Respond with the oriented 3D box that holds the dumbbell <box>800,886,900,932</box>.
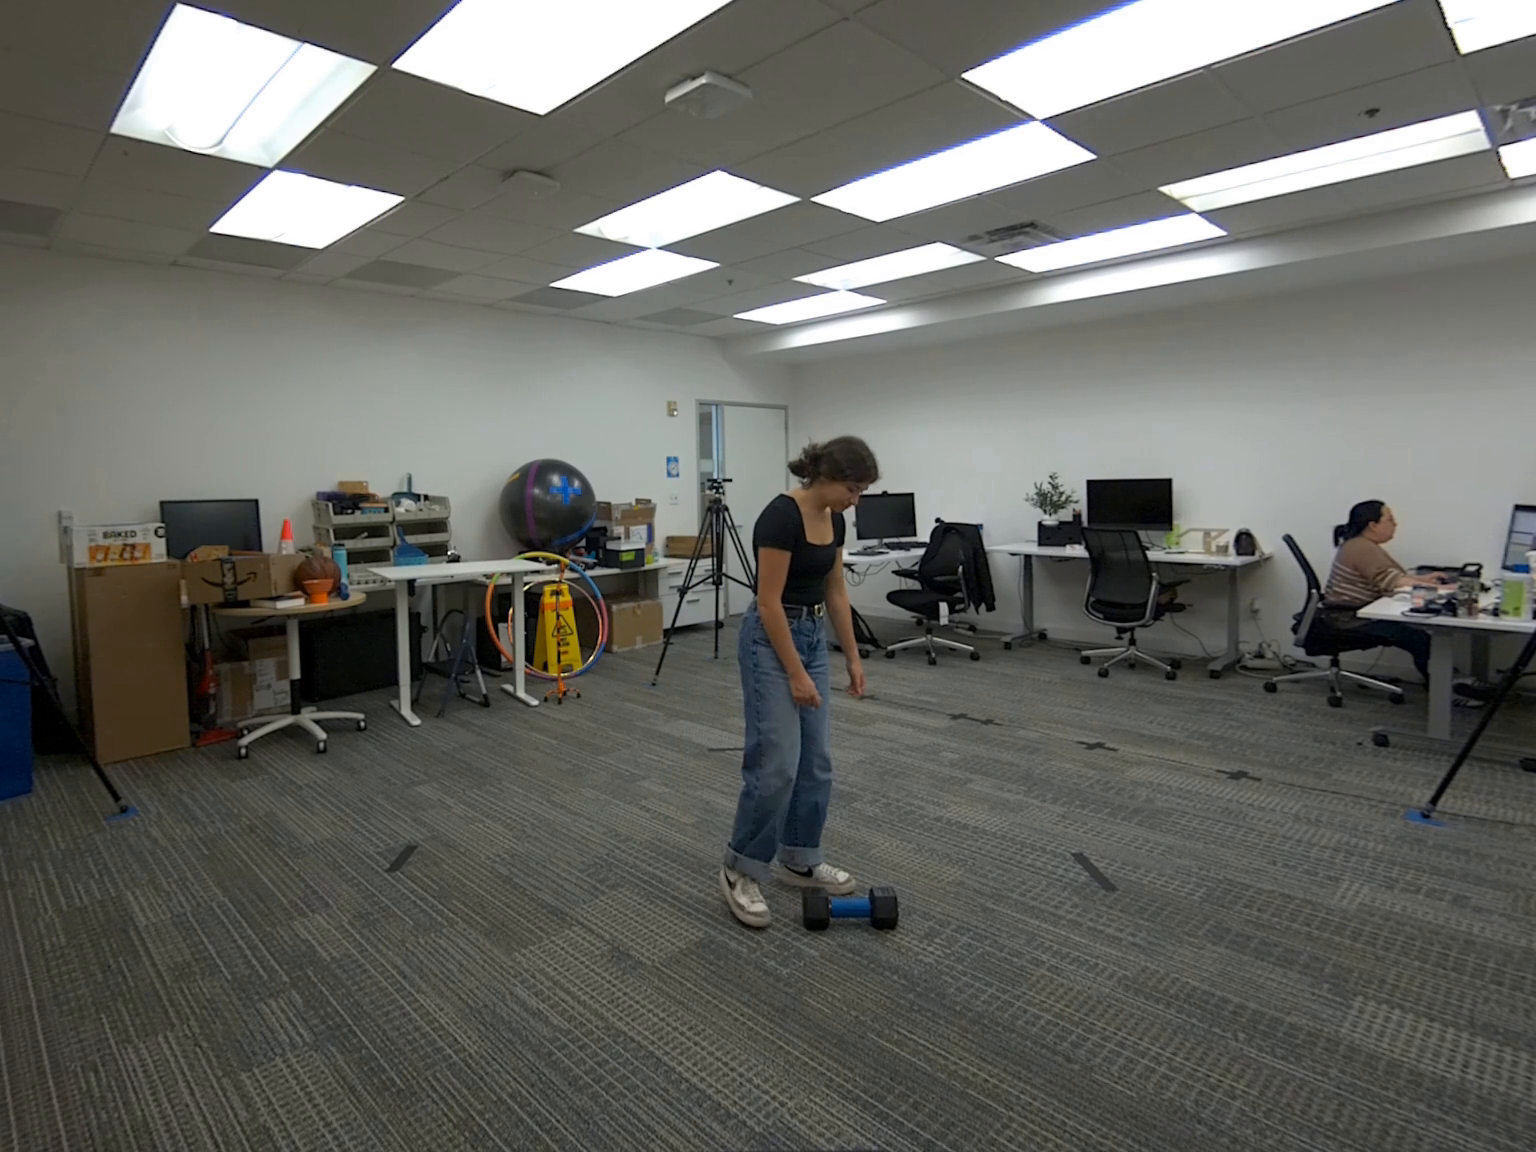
[{"bbox_3d":[0.260,1.037,2.662,0.293,0.126,0.106,-1,-25,0],"label":"dumbbell"}]
